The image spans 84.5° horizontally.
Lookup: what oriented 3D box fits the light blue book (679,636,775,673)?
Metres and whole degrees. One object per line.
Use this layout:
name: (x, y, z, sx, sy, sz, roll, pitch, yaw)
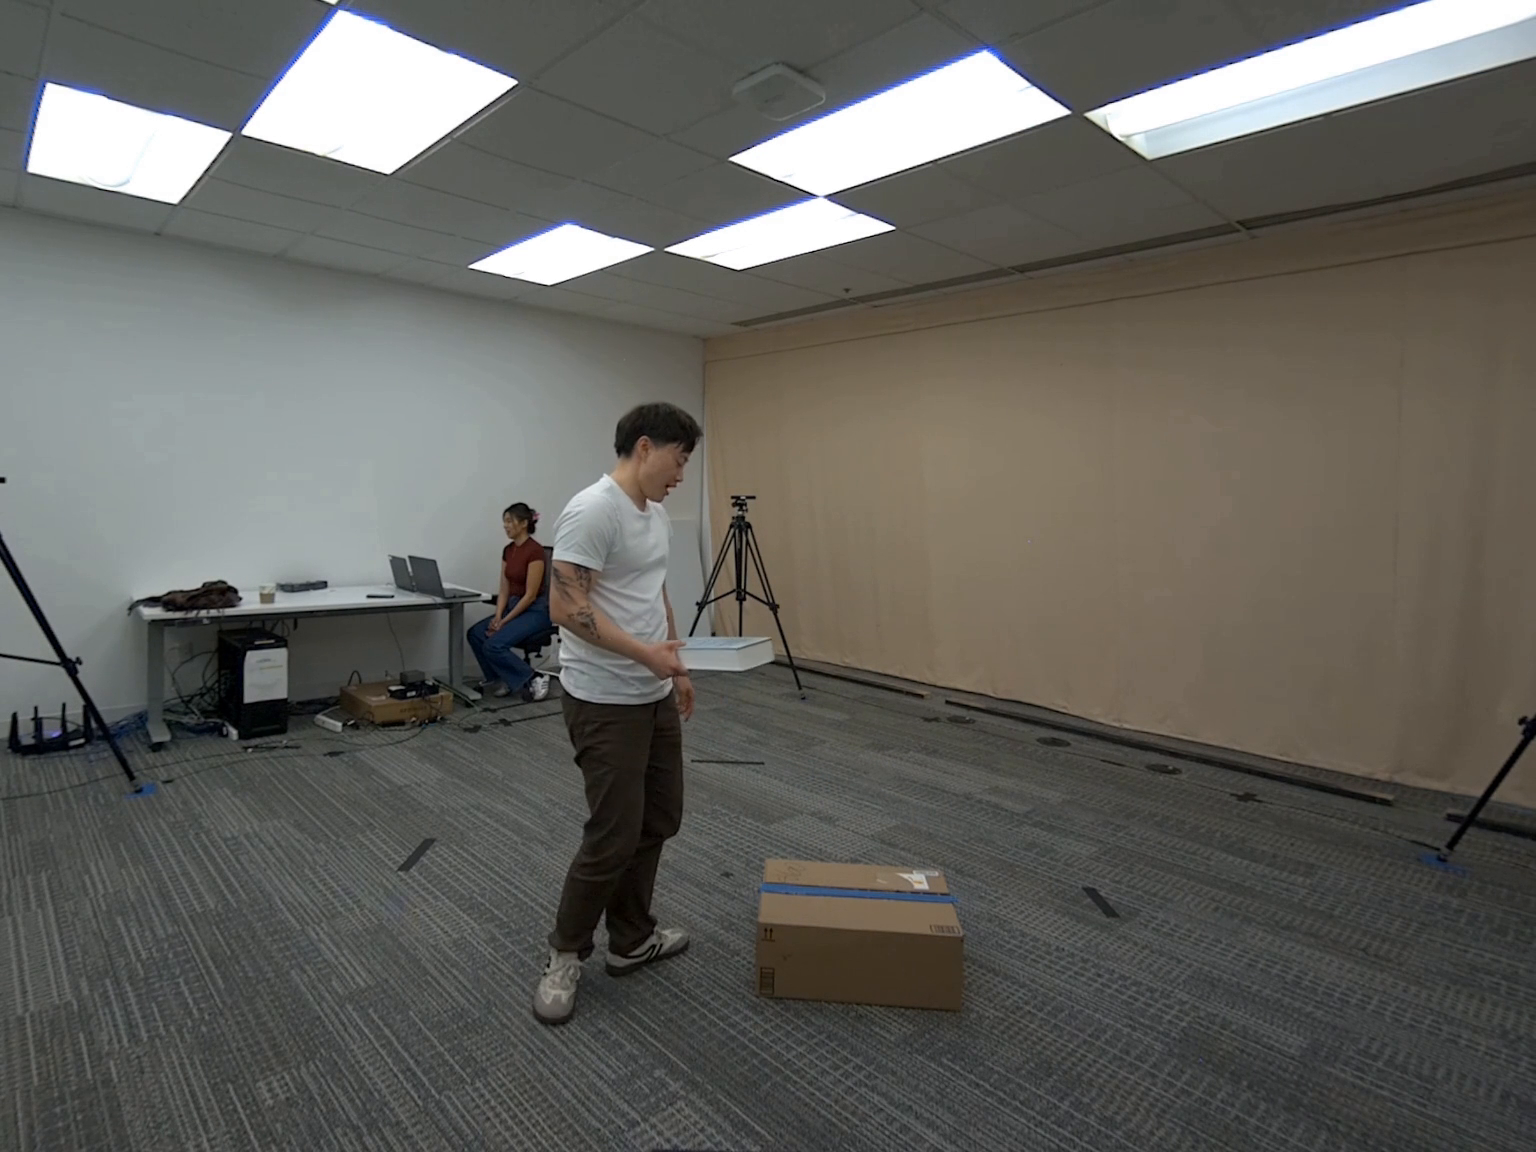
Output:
light blue book: (-0.145, 0.199, 2.228, 0.266, 0.059, 0.188, -2, 2, 30)
